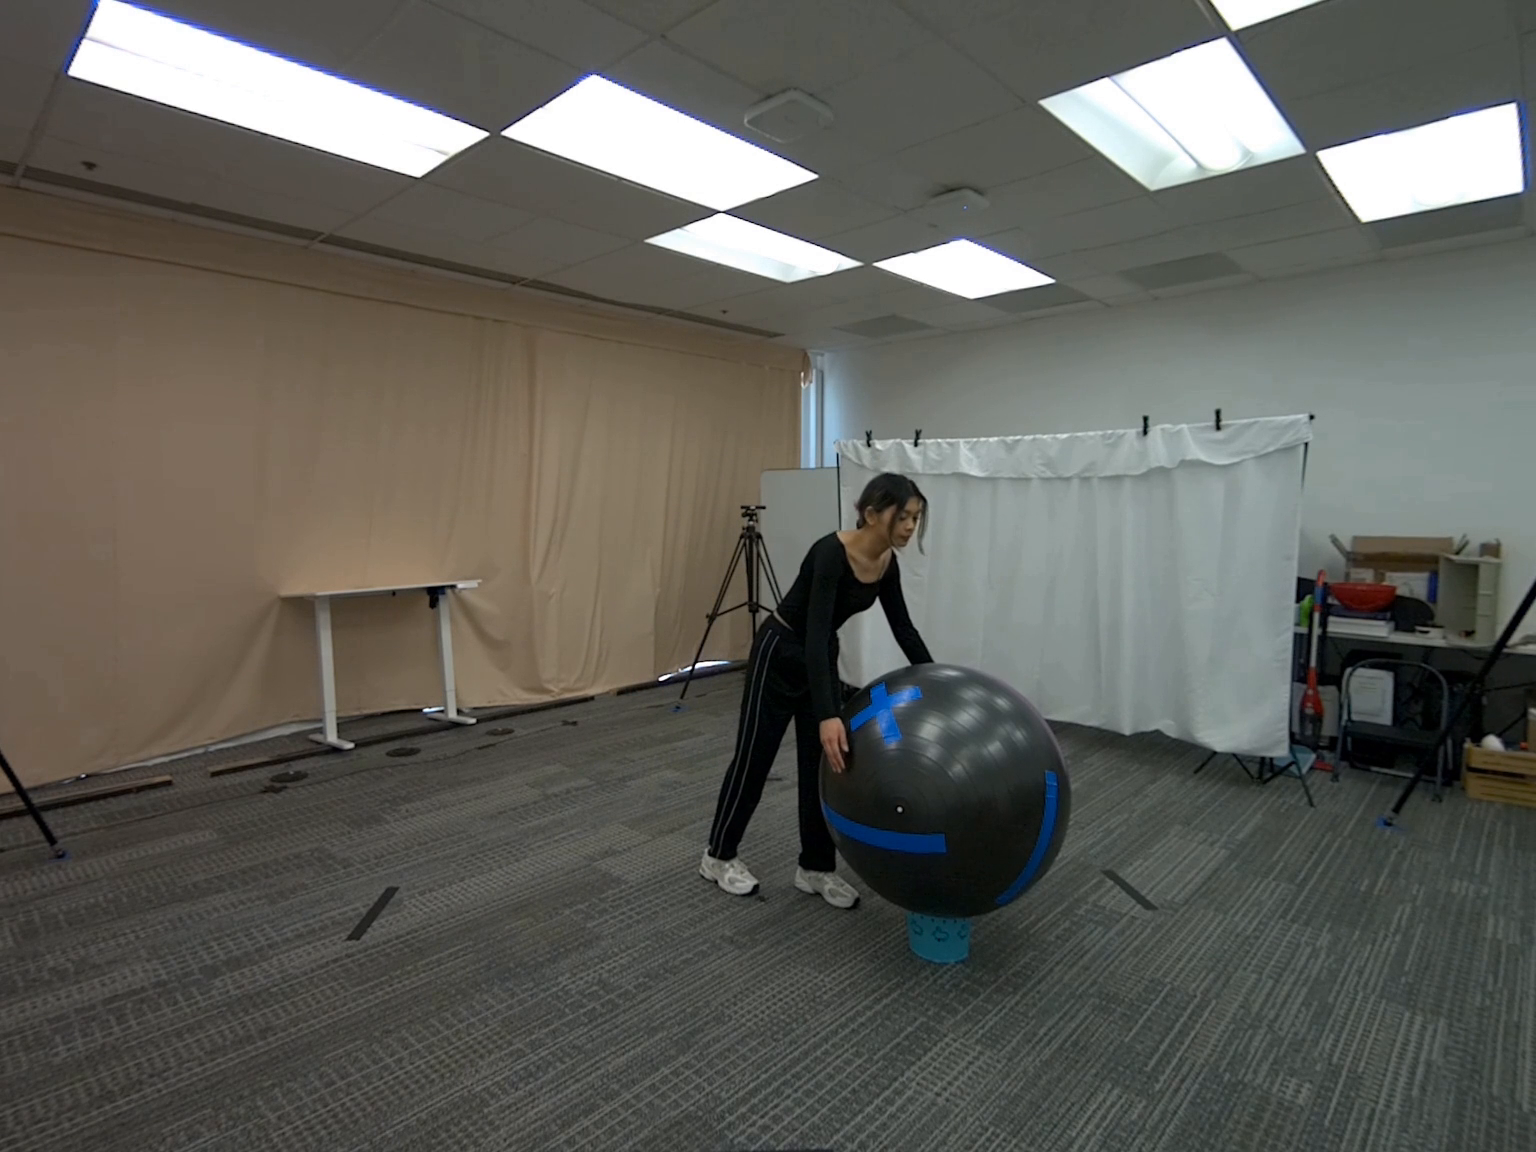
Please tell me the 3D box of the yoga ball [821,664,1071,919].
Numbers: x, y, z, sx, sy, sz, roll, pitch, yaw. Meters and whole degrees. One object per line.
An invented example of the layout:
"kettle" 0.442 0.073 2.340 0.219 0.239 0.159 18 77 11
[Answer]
"yoga ball" 0.548 0.657 2.636 0.757 0.756 0.760 0 4 -2
